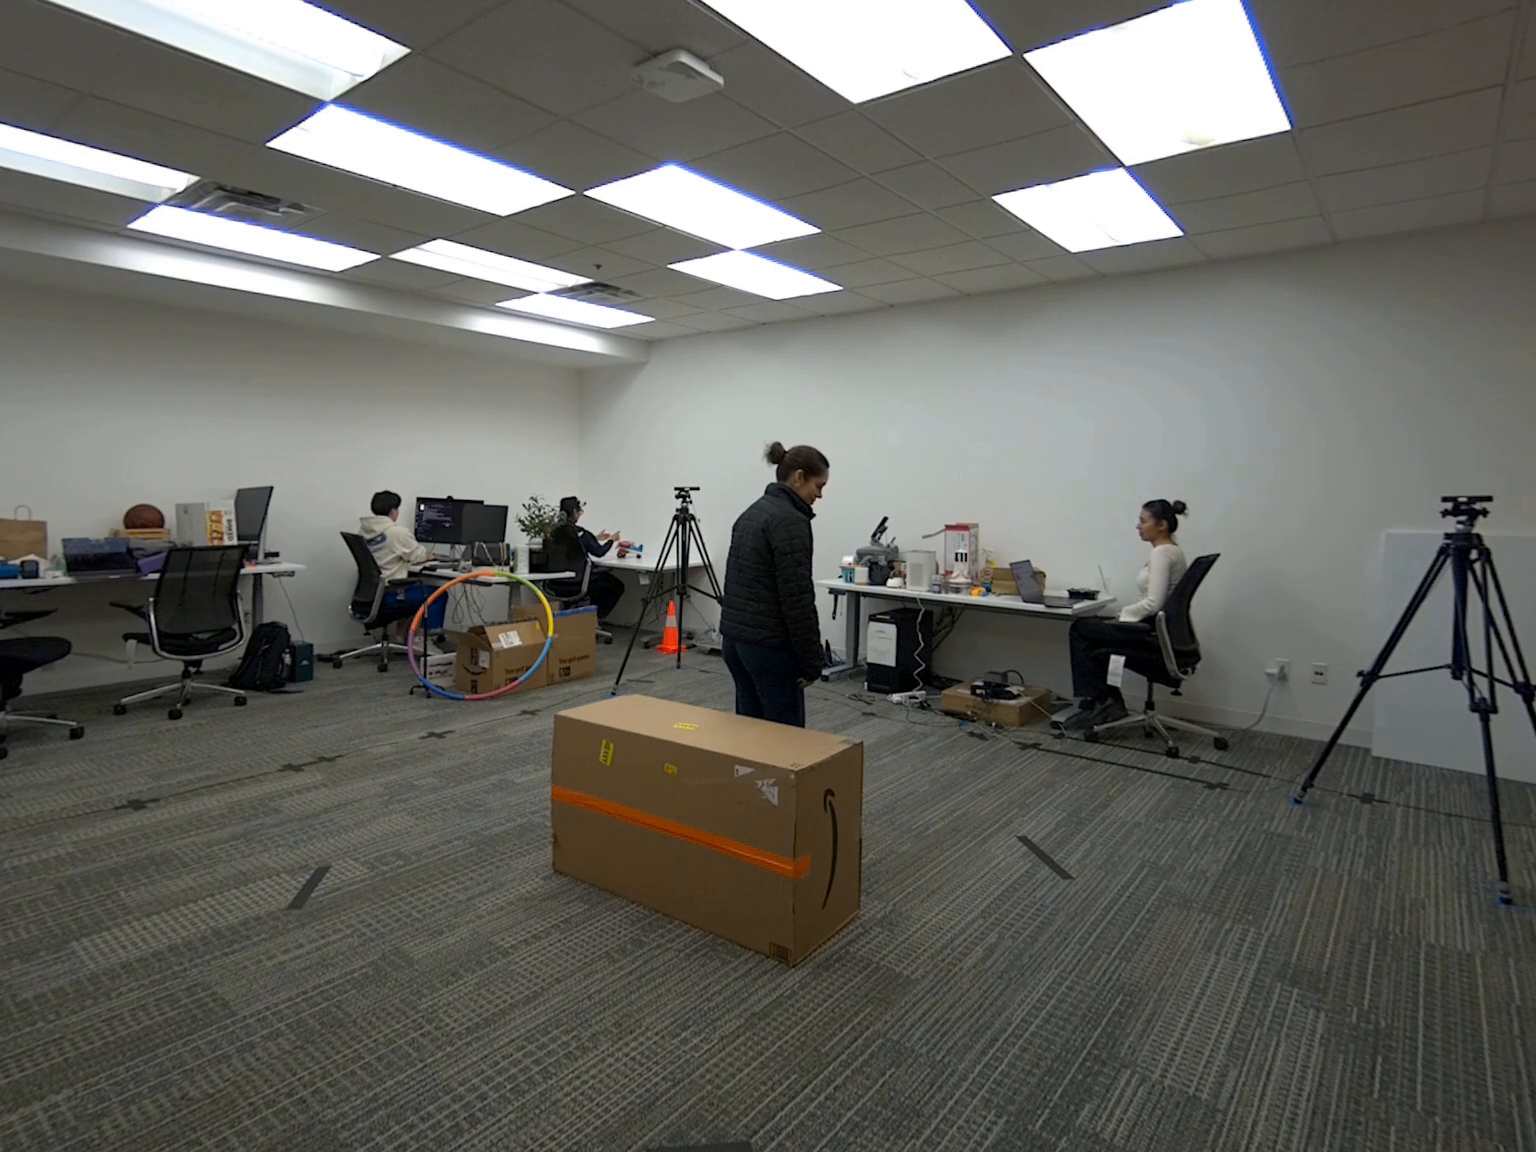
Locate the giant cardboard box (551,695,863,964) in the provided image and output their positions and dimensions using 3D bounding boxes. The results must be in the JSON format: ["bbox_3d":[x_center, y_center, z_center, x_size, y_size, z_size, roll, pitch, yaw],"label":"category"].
[{"bbox_3d":[-0.223,0.798,2.932,1.059,0.576,0.413,4,4,36],"label":"giant cardboard box"}]
